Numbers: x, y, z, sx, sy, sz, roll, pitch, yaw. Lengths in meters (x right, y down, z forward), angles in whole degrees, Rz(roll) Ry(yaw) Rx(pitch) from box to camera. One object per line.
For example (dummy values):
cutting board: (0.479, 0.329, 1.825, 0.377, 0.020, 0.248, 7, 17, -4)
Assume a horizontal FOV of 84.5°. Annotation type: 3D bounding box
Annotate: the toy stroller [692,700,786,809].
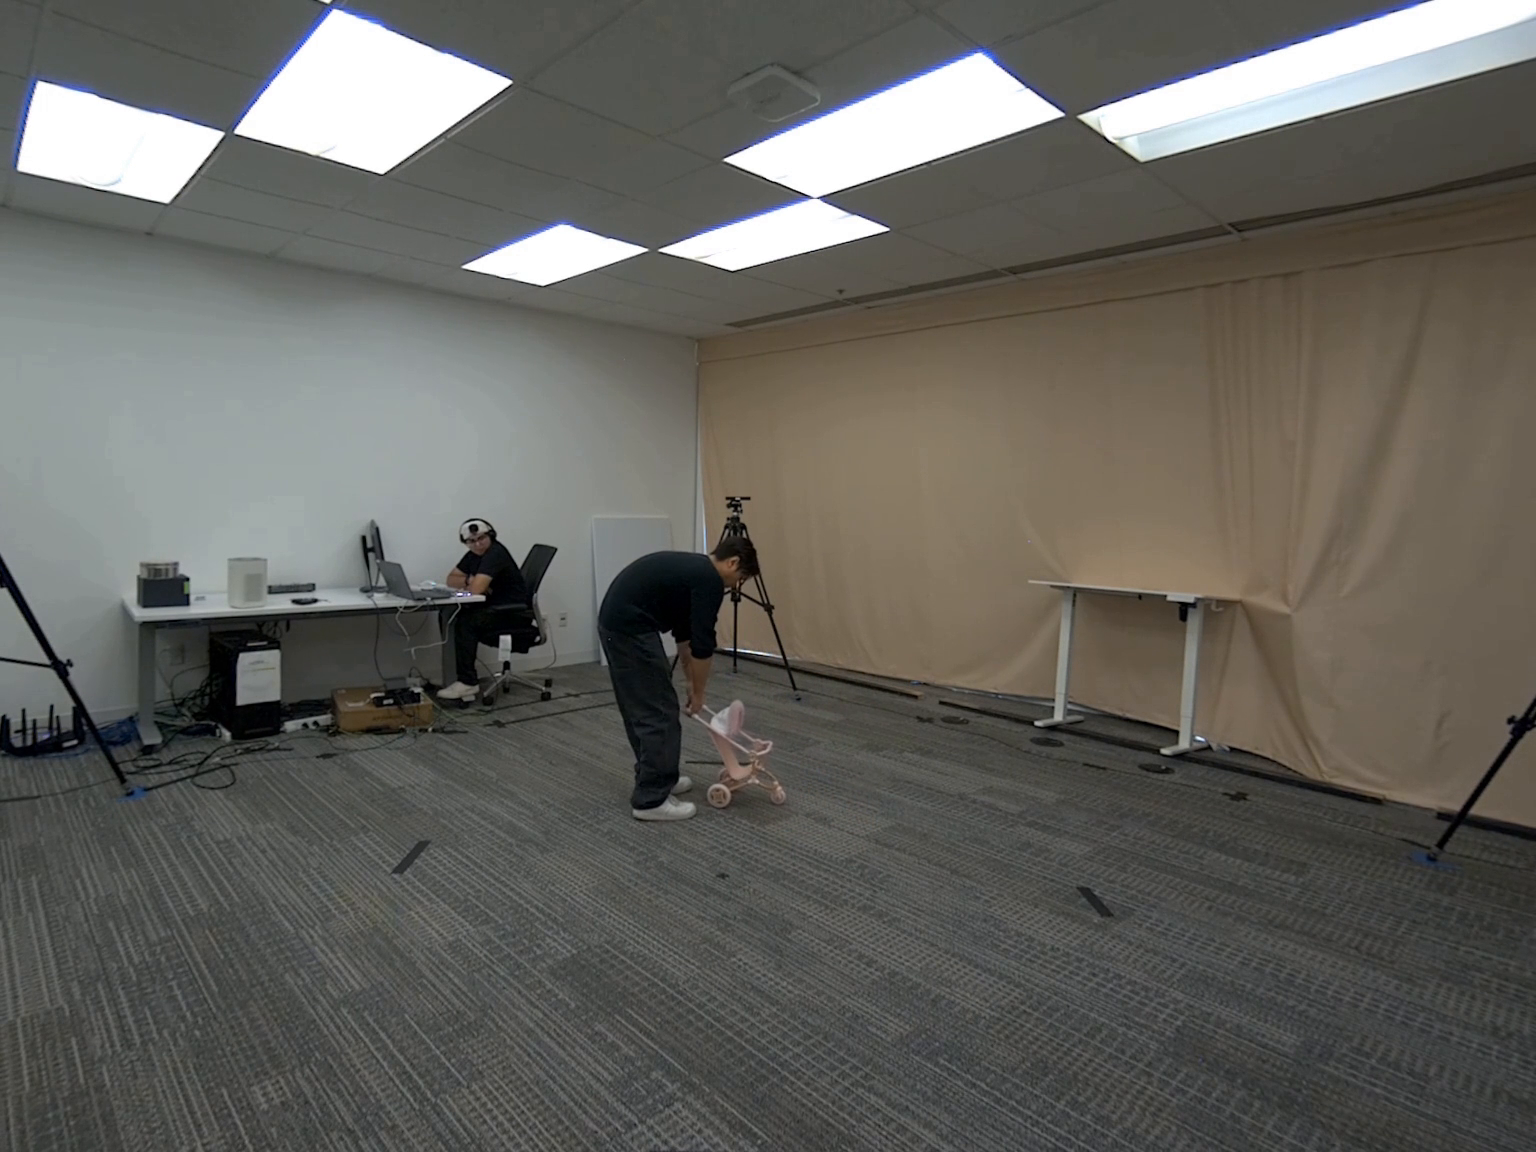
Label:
toy stroller: (-0.141, 0.815, 3.885, 0.344, 0.536, 0.278, -14, -1, 15)
